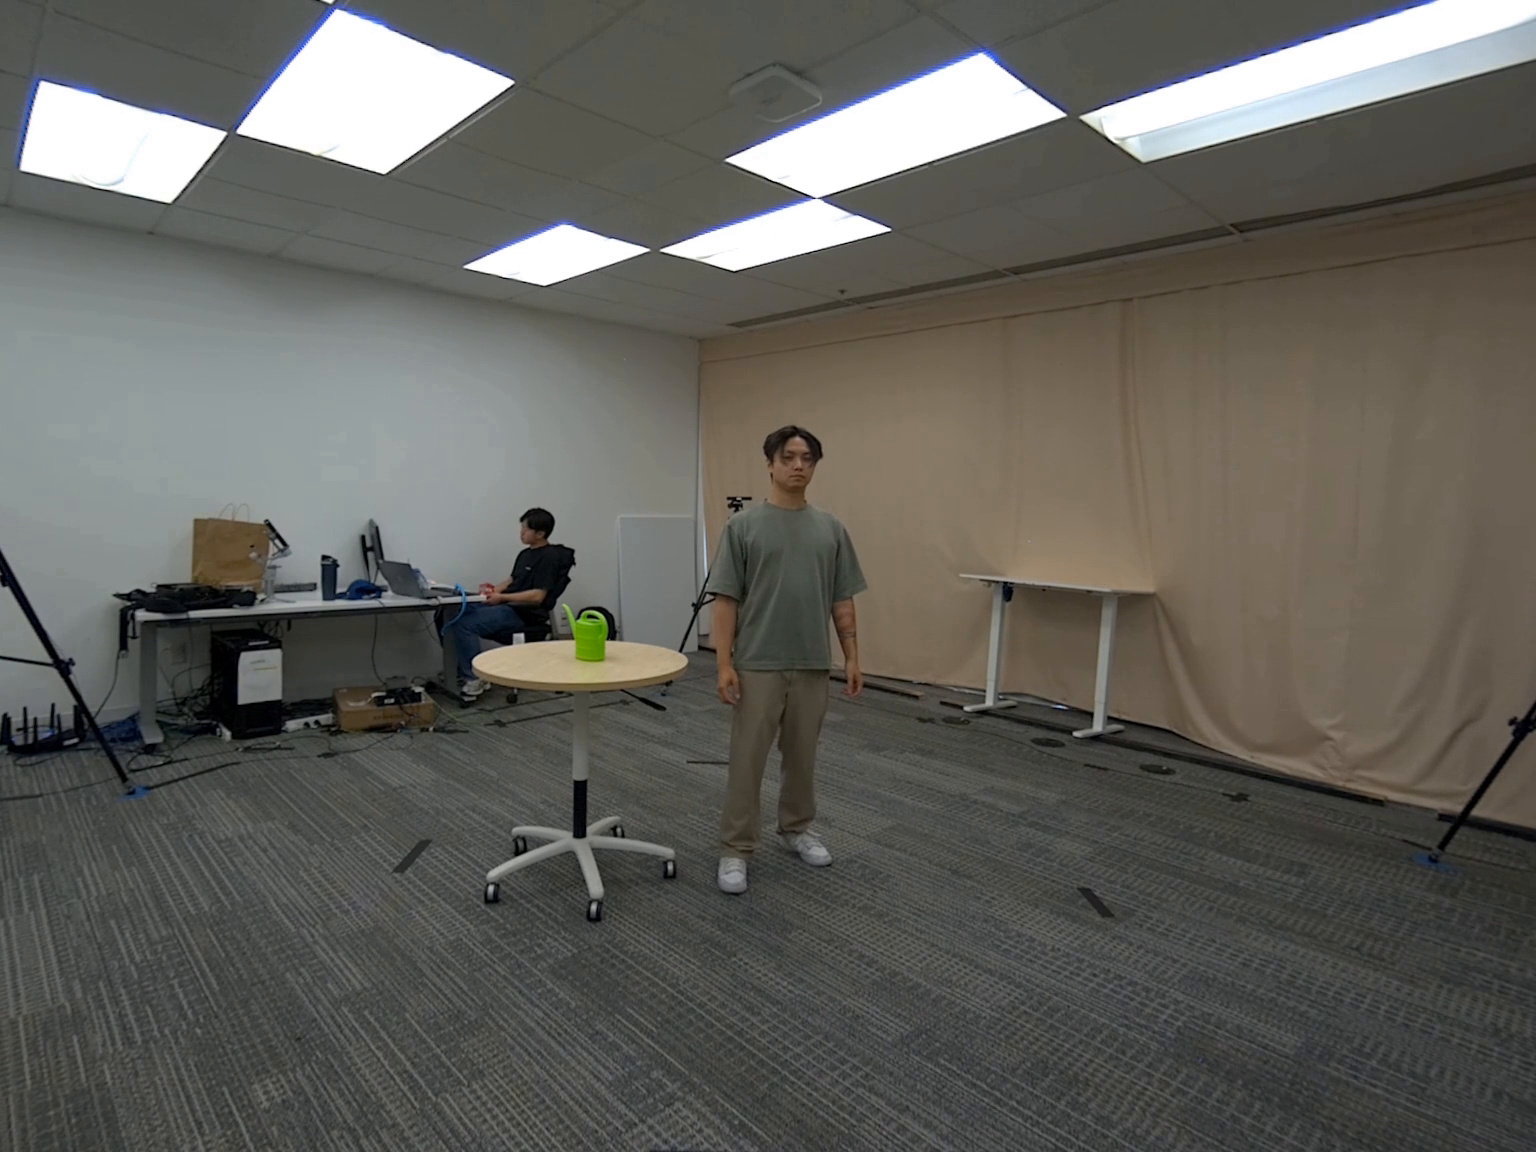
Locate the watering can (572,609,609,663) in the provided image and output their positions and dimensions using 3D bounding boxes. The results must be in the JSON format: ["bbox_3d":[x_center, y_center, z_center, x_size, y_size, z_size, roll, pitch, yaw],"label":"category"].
[{"bbox_3d":[-0.672,0.214,3.095,0.096,0.176,0.285,0,5,-33],"label":"watering can"}]
